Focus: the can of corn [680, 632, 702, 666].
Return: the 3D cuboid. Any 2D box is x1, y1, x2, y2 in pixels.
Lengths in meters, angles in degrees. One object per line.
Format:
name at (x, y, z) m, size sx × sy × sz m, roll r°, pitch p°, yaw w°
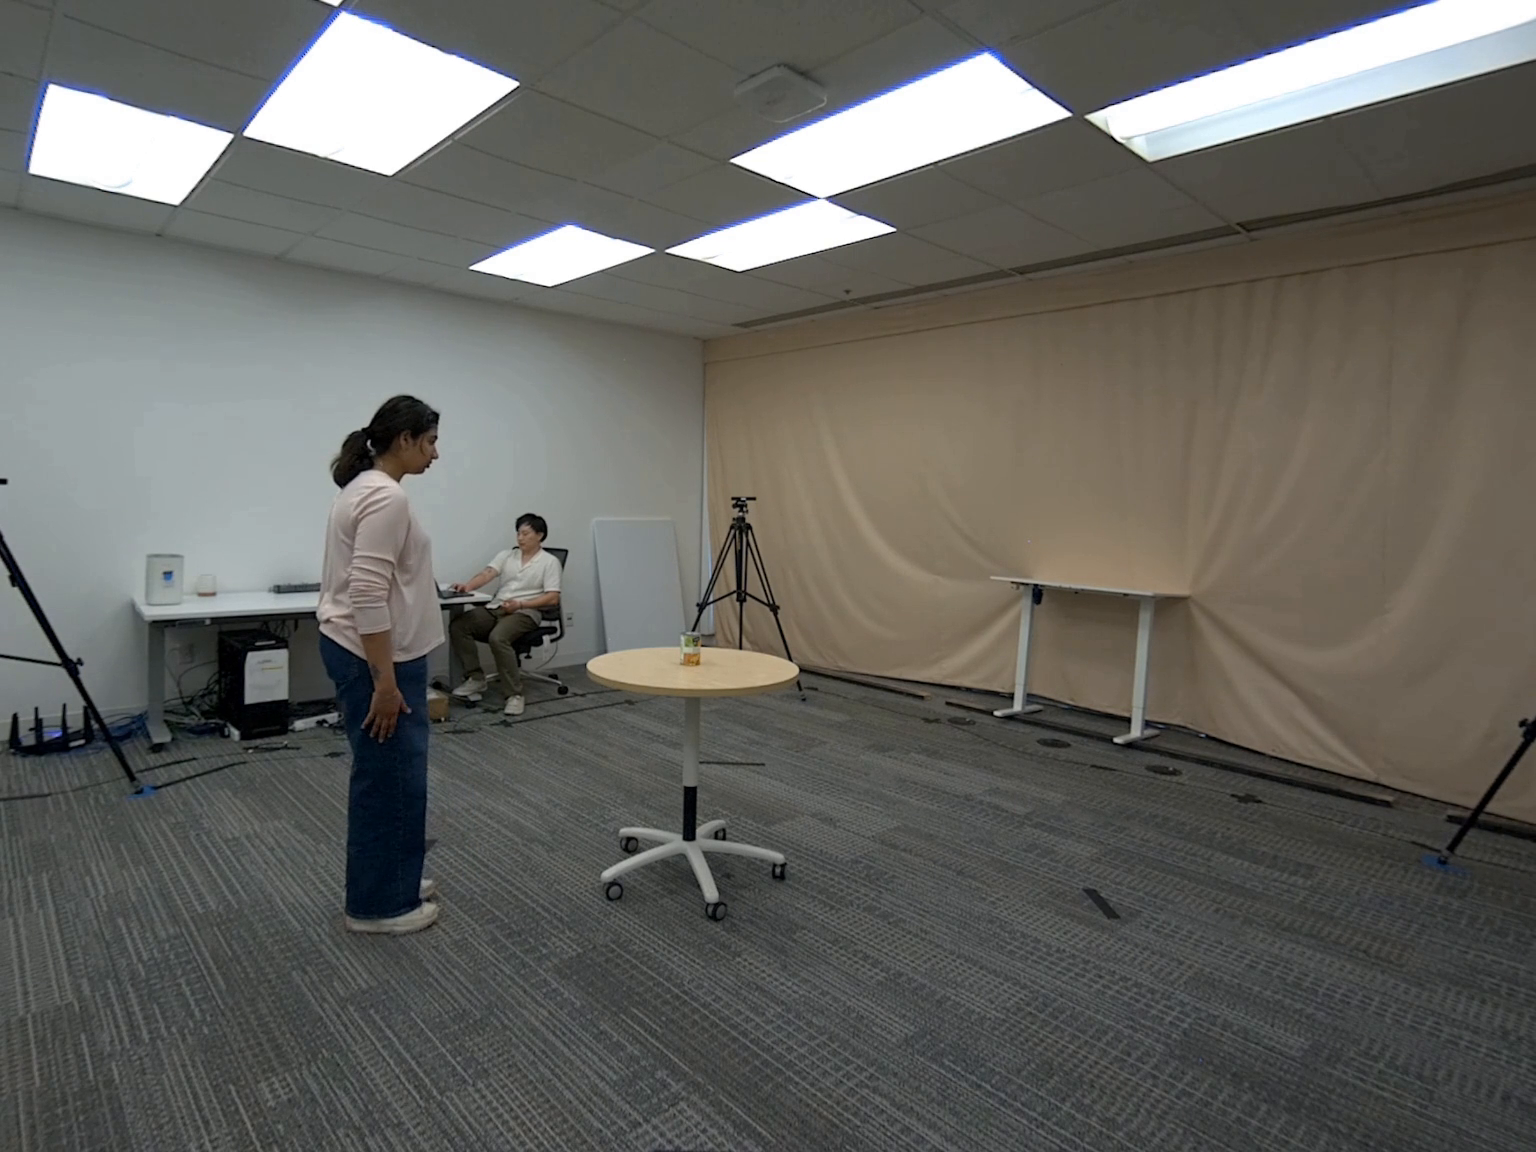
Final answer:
can of corn at (-0.291, 0.268, 3.070) m, size 0.074 × 0.111 × 0.074 m, roll 1°, pitch 5°, yaw -1°
